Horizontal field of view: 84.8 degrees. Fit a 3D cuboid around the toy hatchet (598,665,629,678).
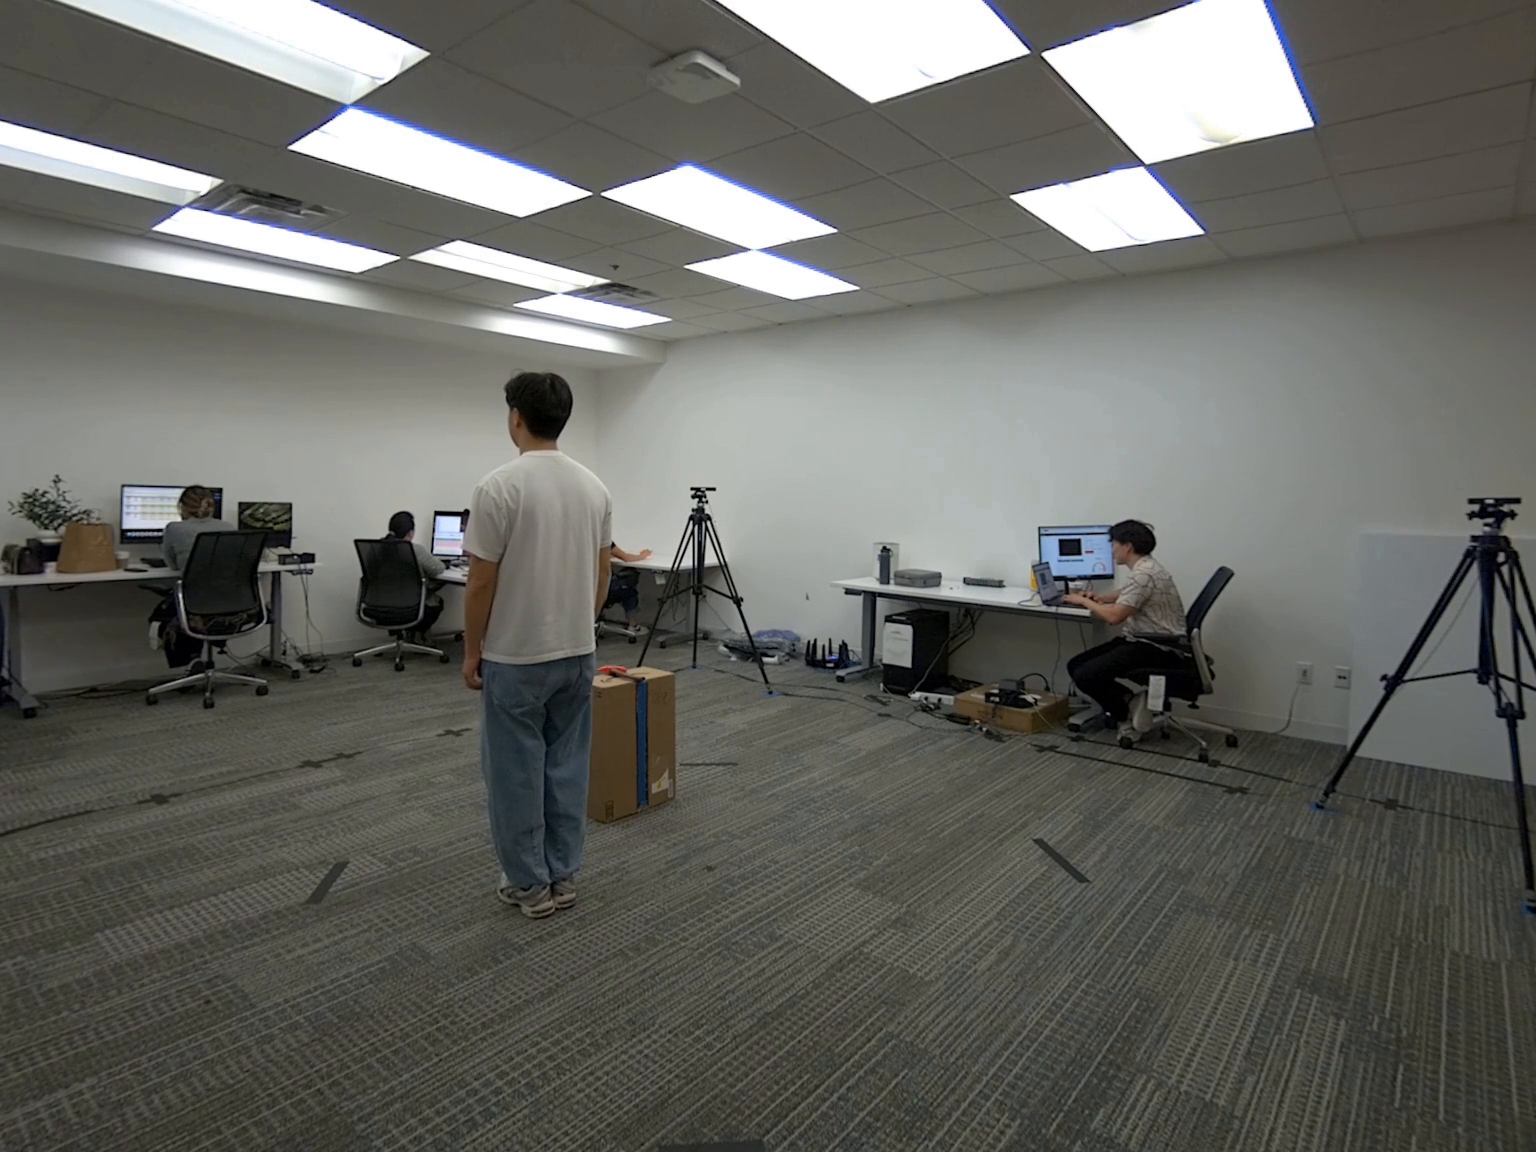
[{"bbox_3d":[-0.624,0.420,3.709,0.279,0.029,0.127,6,2,38],"label":"toy hatchet"}]
